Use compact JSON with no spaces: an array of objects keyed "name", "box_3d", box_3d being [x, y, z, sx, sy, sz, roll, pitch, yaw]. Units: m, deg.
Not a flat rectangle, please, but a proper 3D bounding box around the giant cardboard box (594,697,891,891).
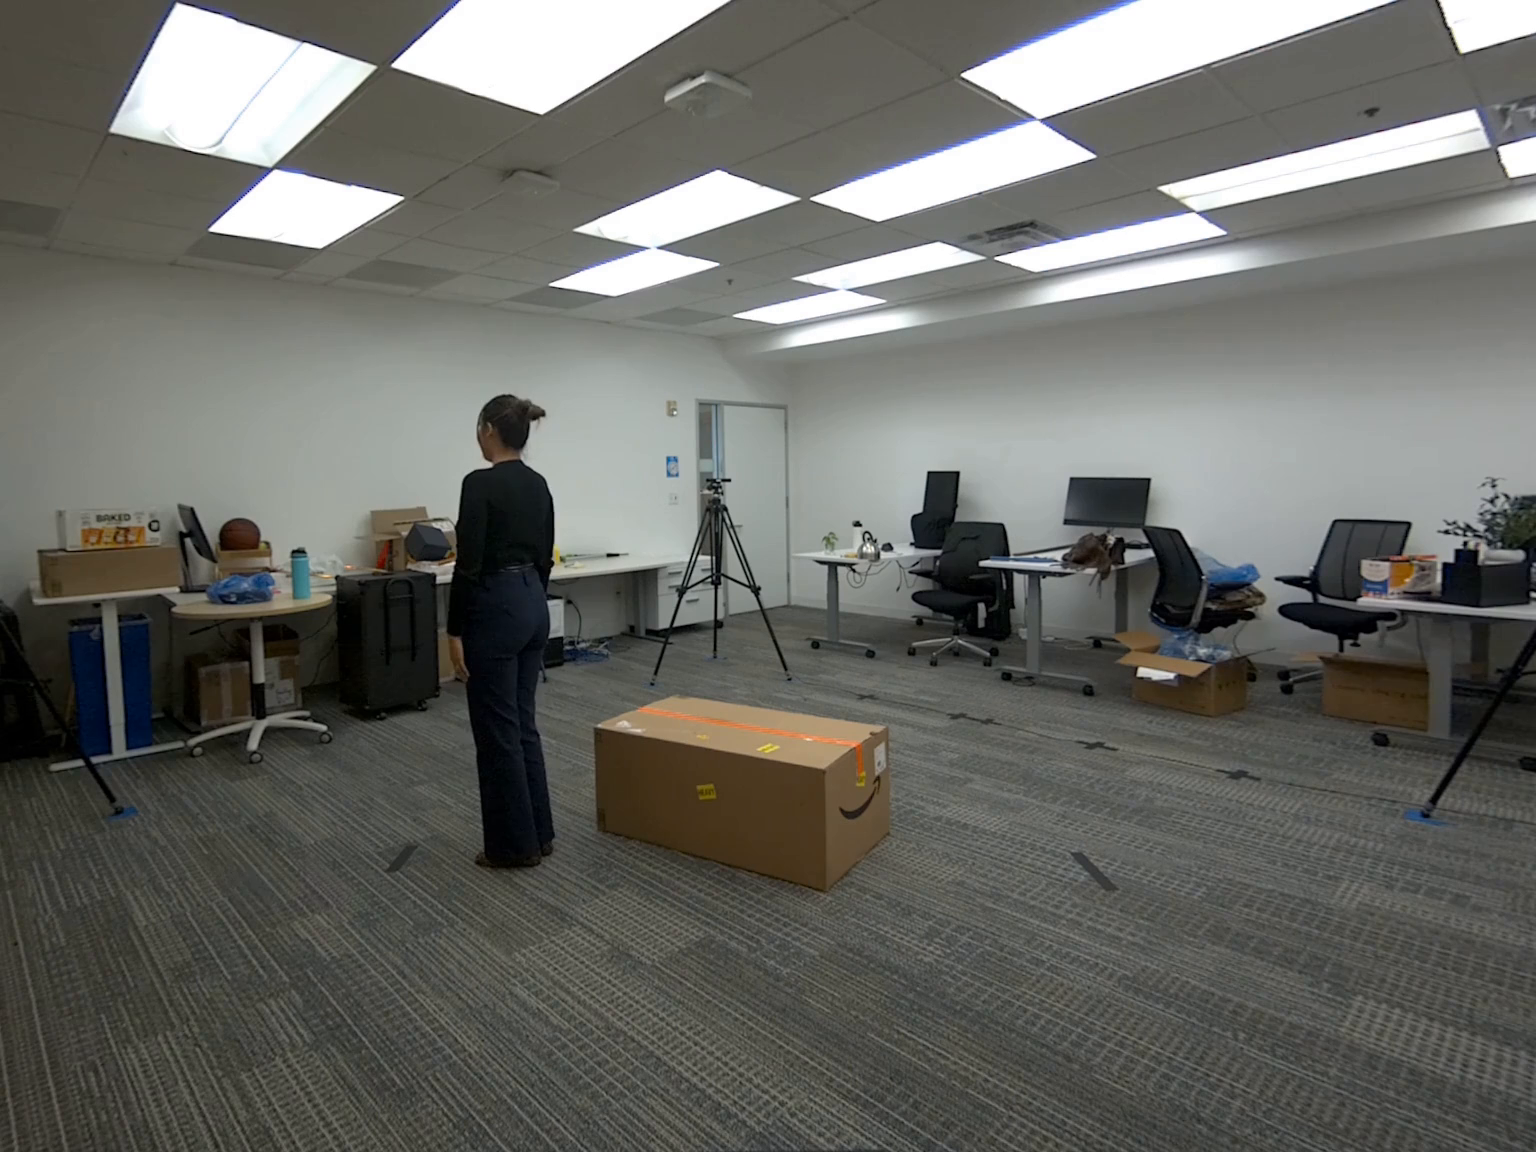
[{"name":"giant cardboard box","box_3d":[-0.108,0.801,3.380,1.054,0.425,0.564,3,6,32]}]
